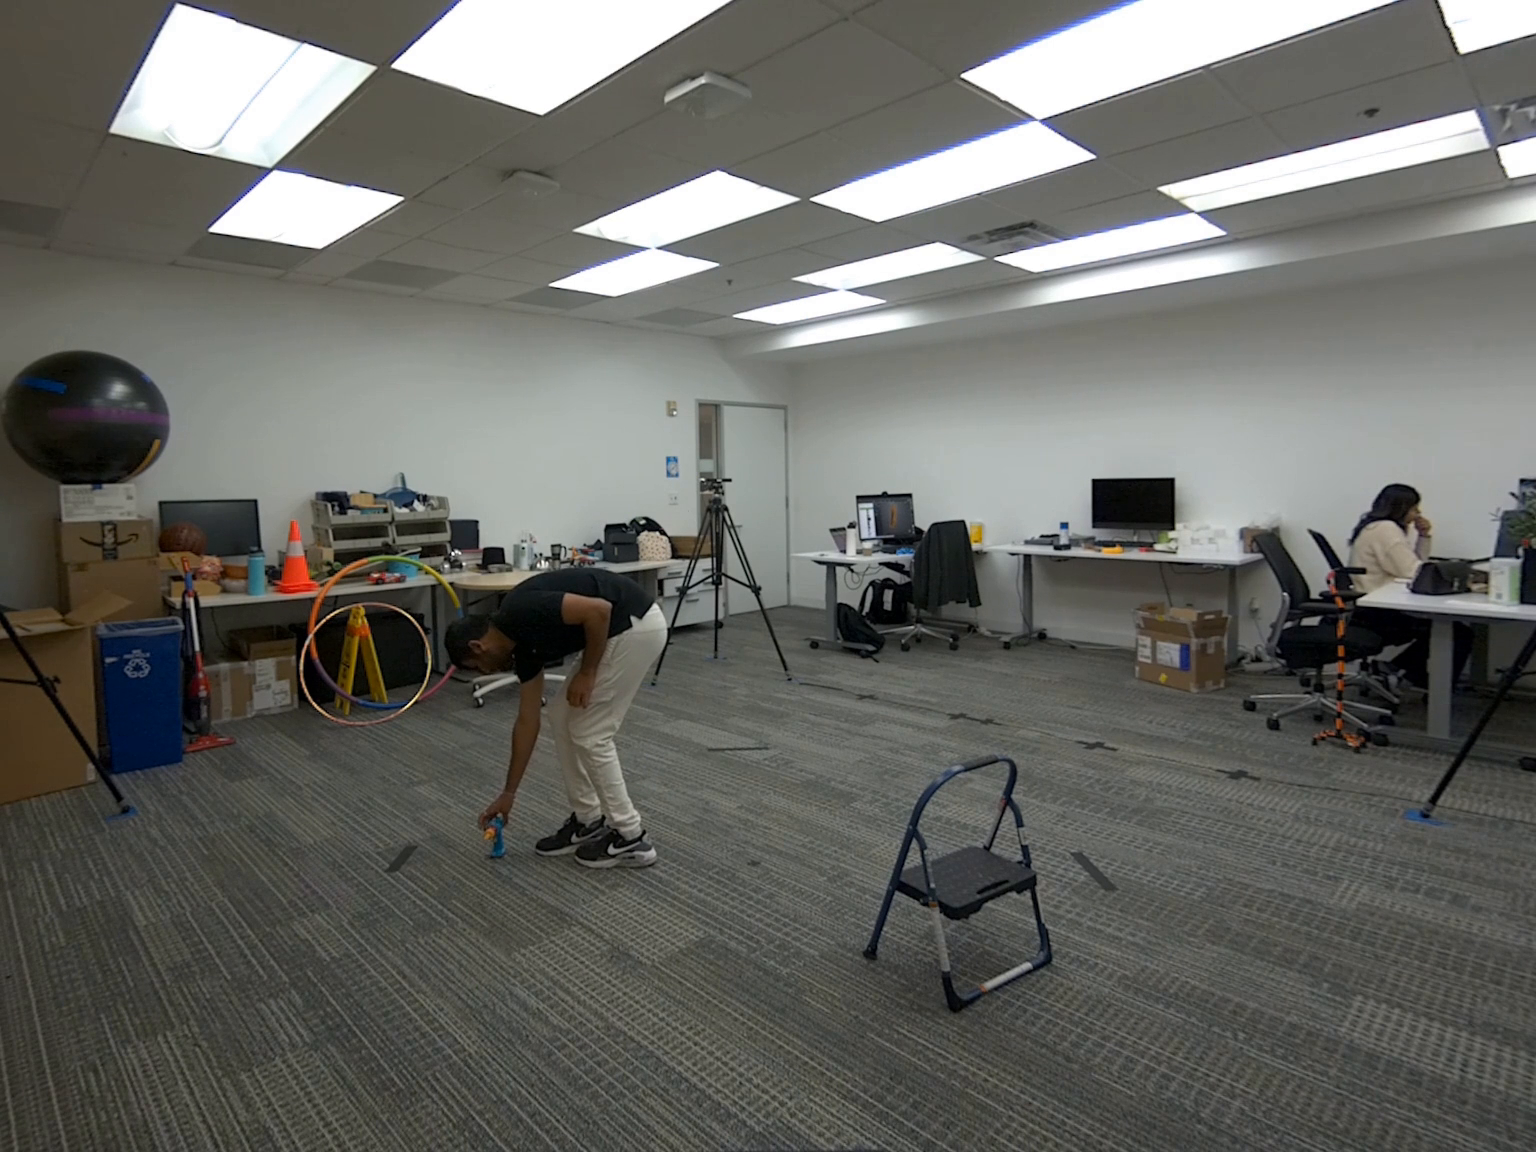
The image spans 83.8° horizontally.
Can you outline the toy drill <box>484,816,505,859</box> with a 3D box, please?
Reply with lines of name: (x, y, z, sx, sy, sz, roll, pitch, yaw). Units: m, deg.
toy drill: (-1.025, 0.982, 3.183, 0.061, 0.145, 0.170, -4, 4, 3)
